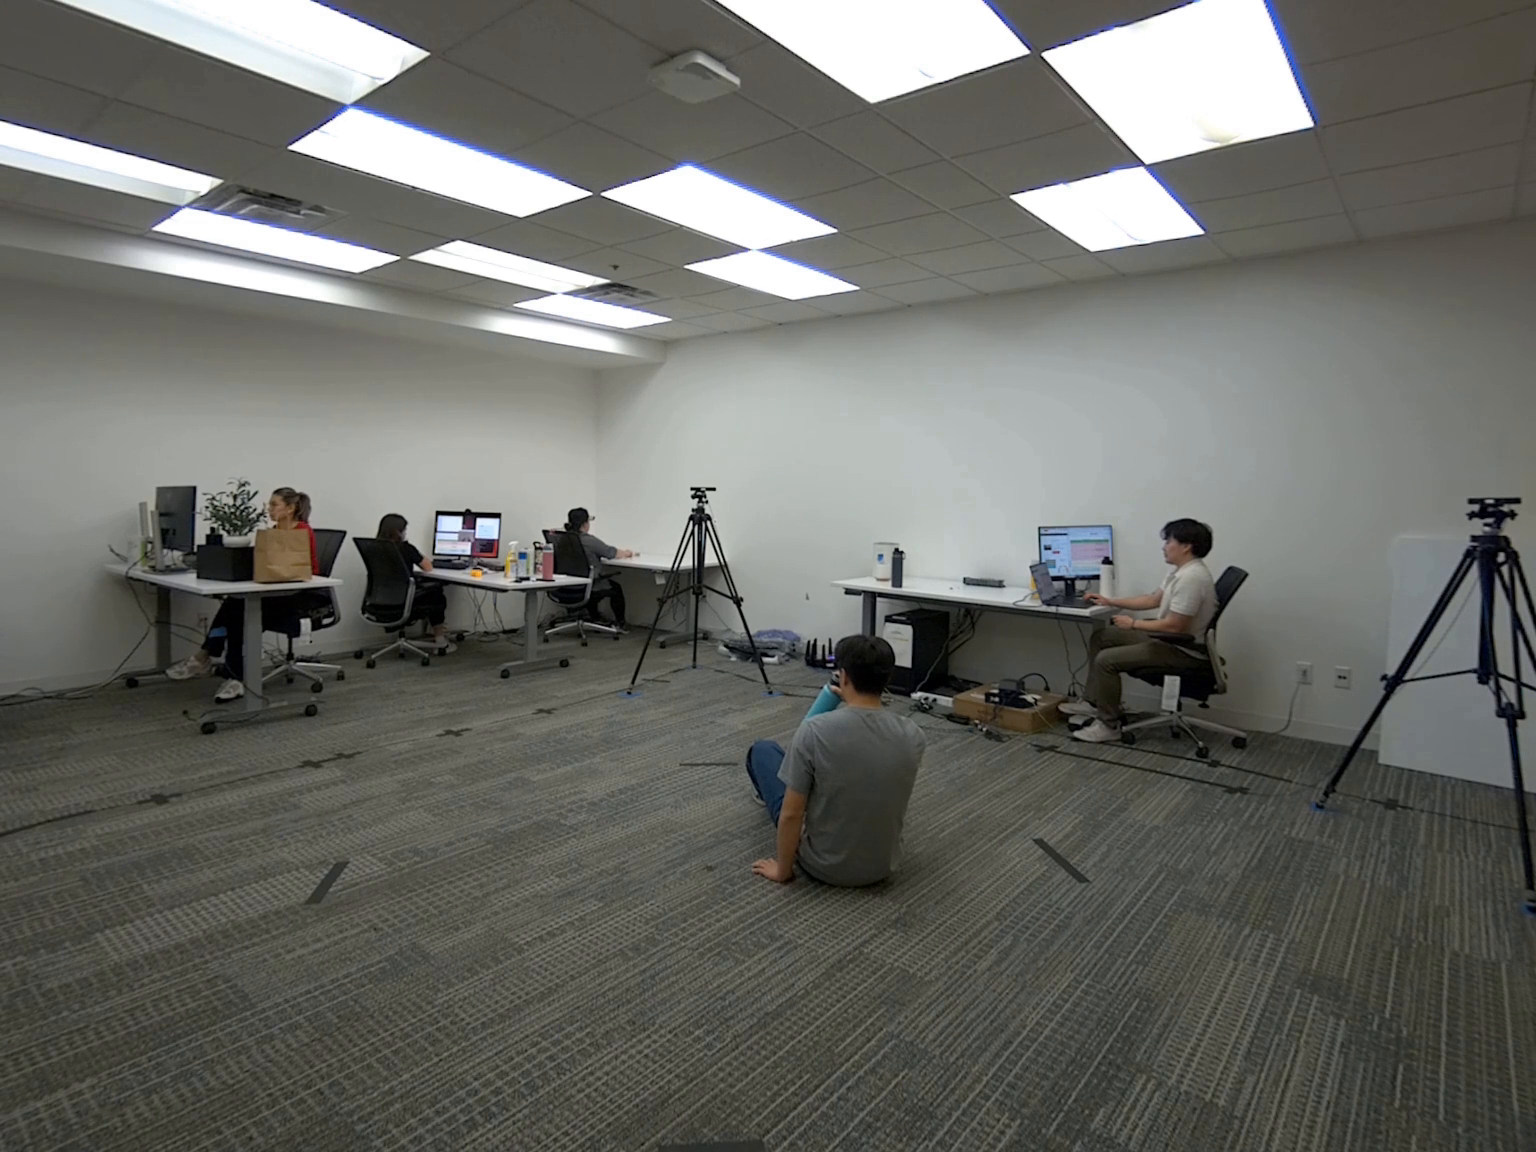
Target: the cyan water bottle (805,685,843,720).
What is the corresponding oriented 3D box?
[{"bbox_3d":[0.230,0.530,3.492,0.091,0.282,0.094,25,18,-11],"label":"cyan water bottle"}]
